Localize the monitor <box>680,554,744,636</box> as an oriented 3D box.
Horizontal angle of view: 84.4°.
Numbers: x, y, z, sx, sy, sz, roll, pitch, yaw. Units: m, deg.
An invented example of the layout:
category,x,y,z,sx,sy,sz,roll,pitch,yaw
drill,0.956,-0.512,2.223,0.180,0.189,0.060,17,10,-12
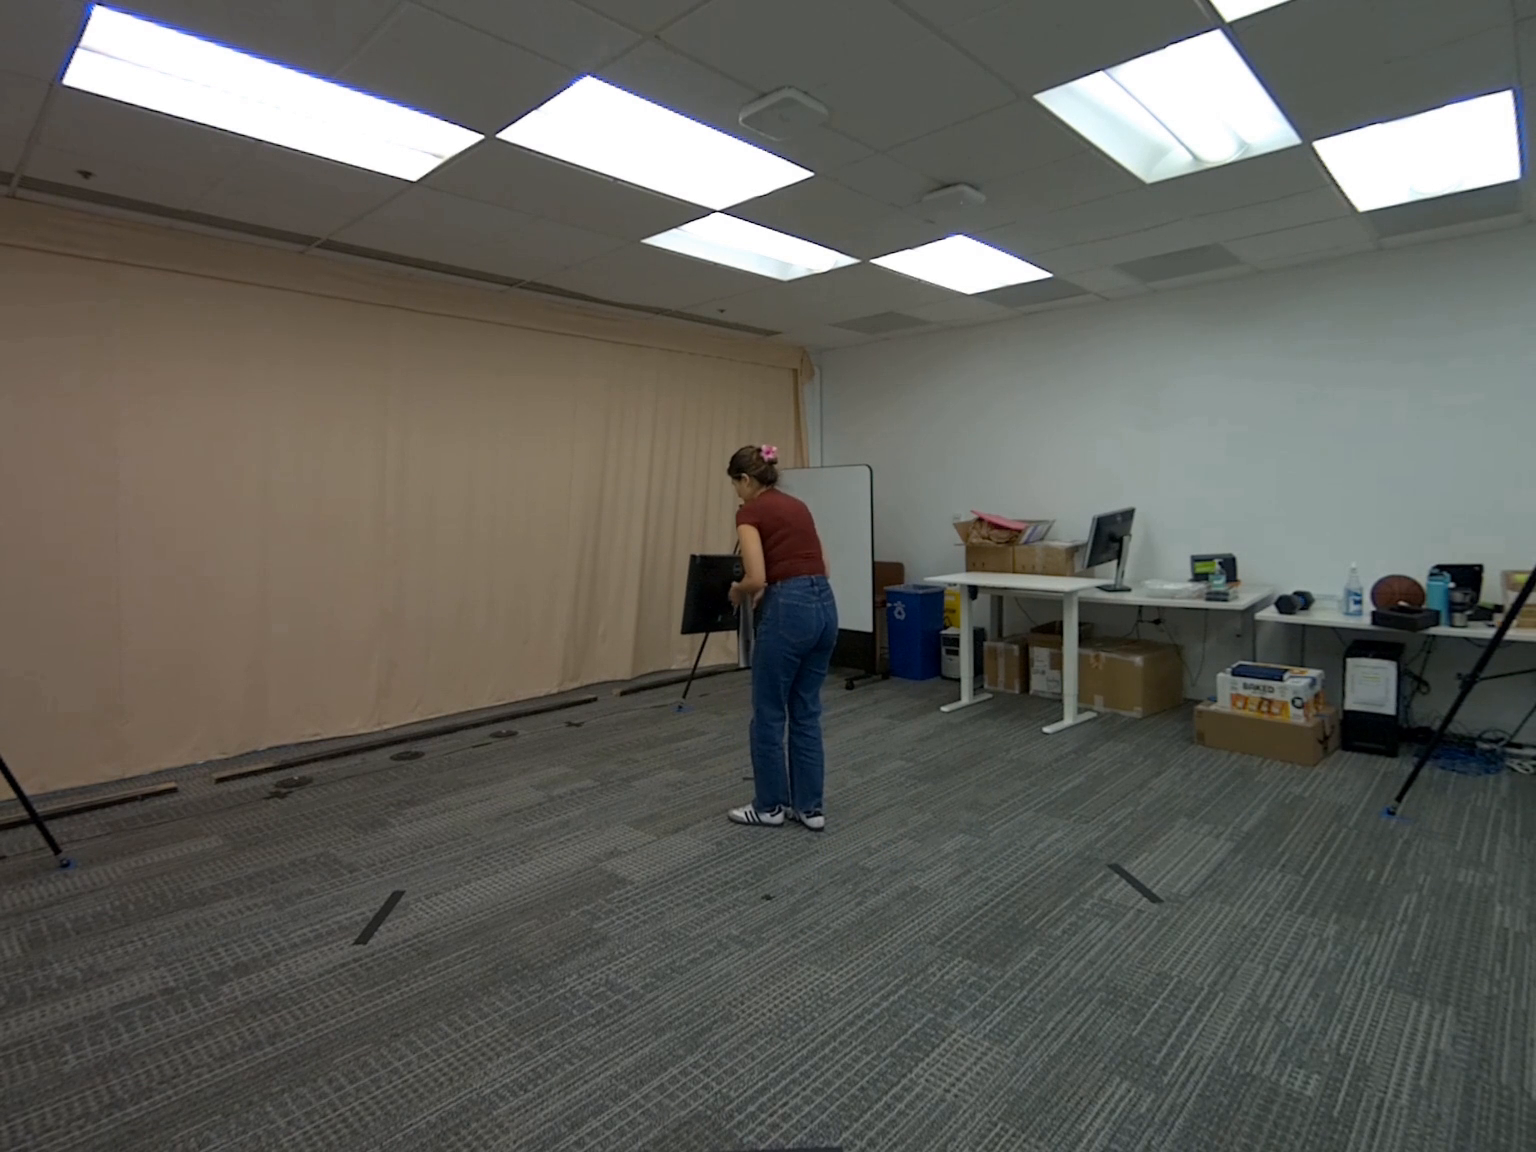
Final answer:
category,x,y,z,sx,sy,sz,roll,pitch,yaw
monitor,-0.141,0.169,3.778,0.193,0.524,0.522,-6,-4,42
